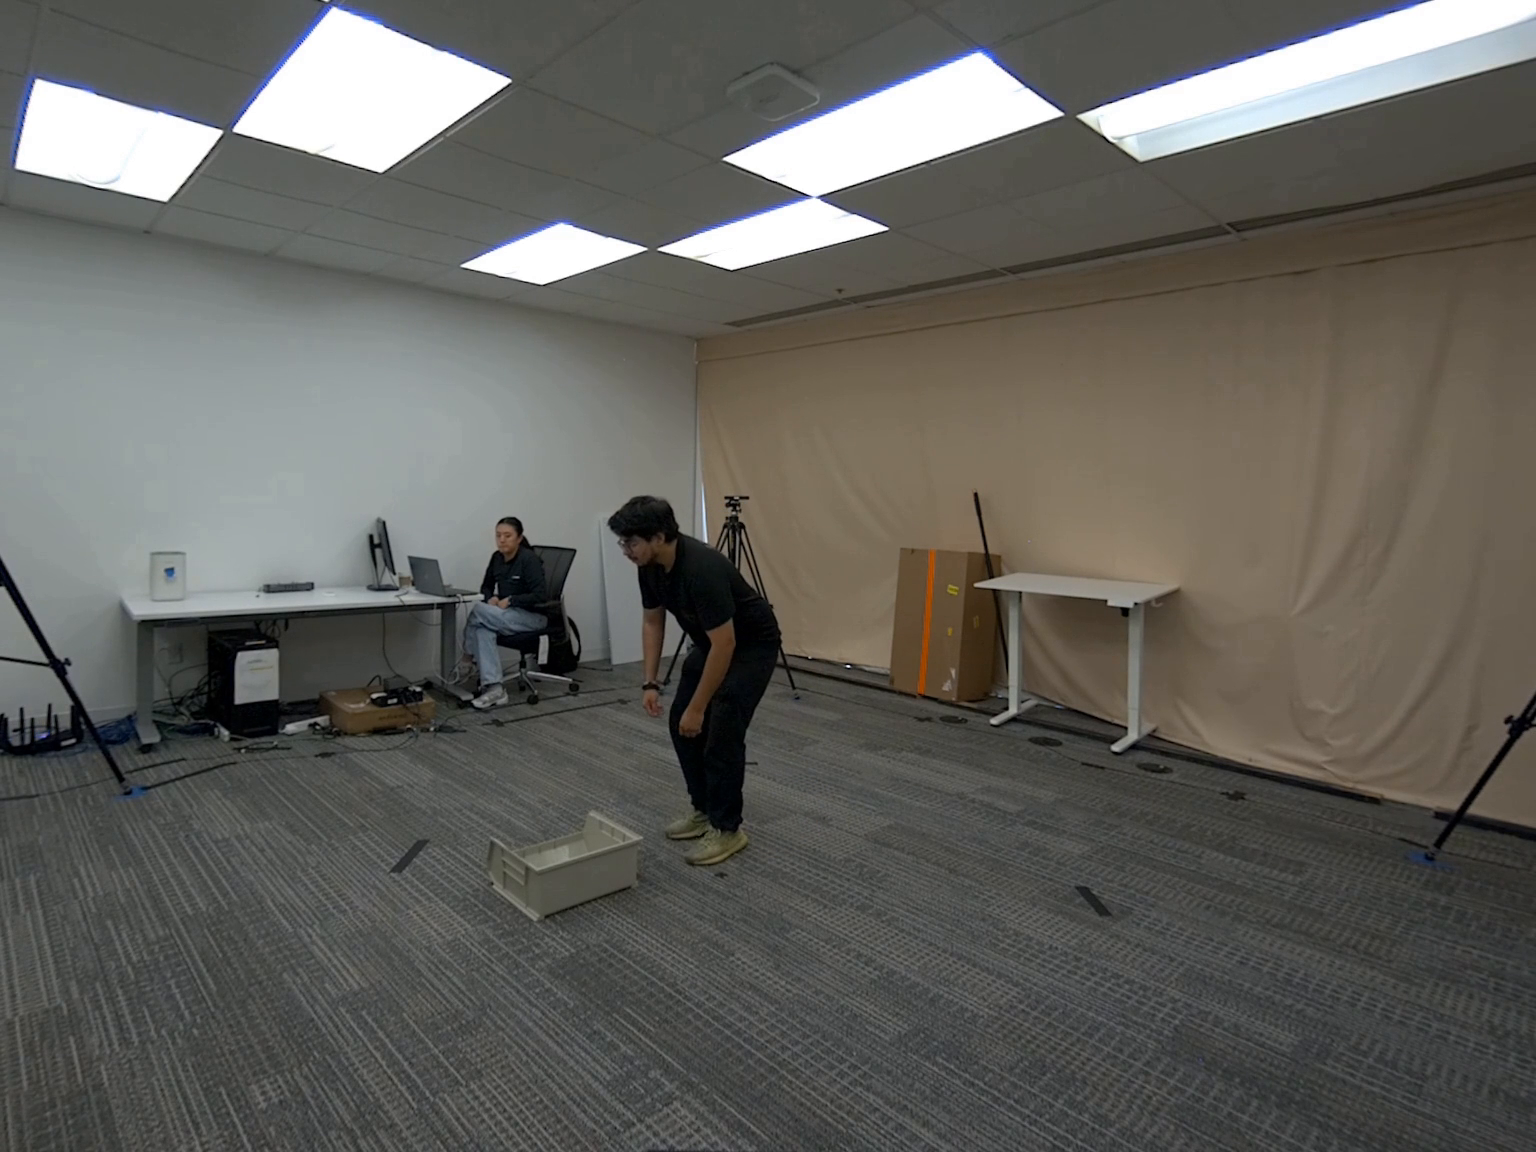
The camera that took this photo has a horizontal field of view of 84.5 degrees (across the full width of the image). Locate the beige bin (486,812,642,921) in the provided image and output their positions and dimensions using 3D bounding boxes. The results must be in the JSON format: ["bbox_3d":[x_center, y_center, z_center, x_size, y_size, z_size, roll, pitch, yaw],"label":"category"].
[{"bbox_3d":[-0.735,1.016,2.992,0.412,0.188,0.387,-2,7,-43],"label":"beige bin"}]
